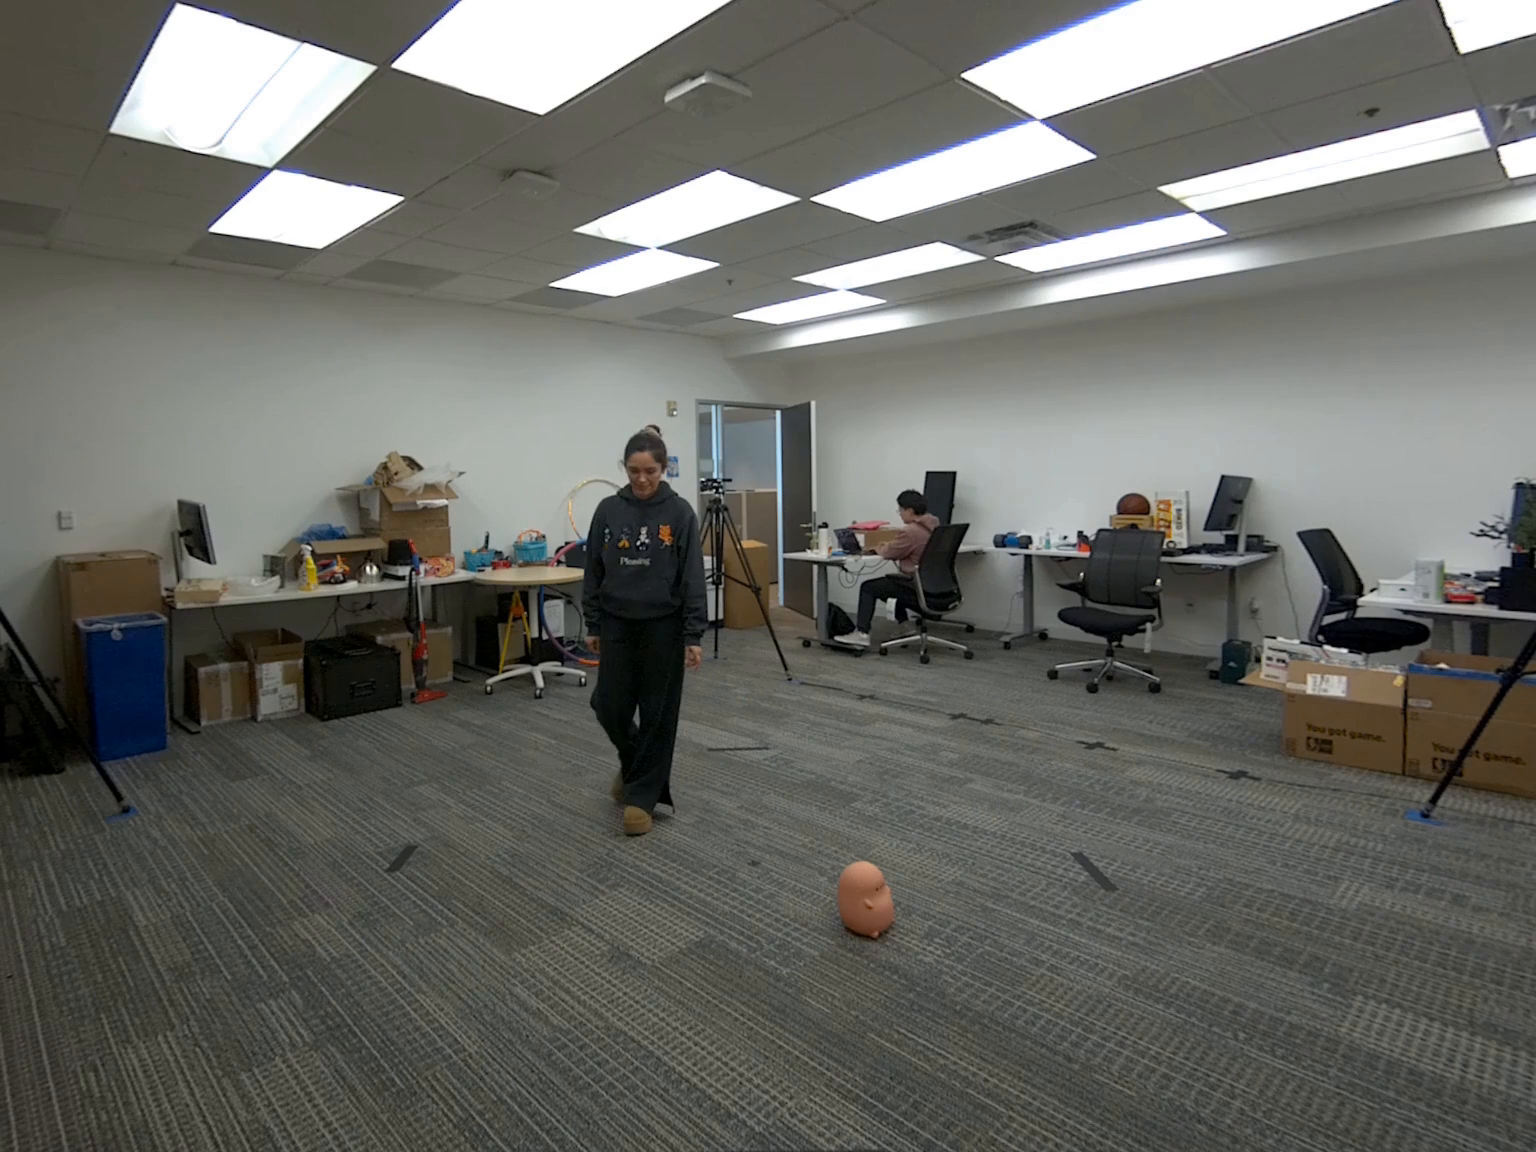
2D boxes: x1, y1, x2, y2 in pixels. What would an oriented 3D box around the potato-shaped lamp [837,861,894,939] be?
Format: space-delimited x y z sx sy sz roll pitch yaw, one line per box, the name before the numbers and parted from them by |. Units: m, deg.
potato-shaped lamp | 0.305 0.994 2.637 0.176 0.197 0.160 2 7 42
